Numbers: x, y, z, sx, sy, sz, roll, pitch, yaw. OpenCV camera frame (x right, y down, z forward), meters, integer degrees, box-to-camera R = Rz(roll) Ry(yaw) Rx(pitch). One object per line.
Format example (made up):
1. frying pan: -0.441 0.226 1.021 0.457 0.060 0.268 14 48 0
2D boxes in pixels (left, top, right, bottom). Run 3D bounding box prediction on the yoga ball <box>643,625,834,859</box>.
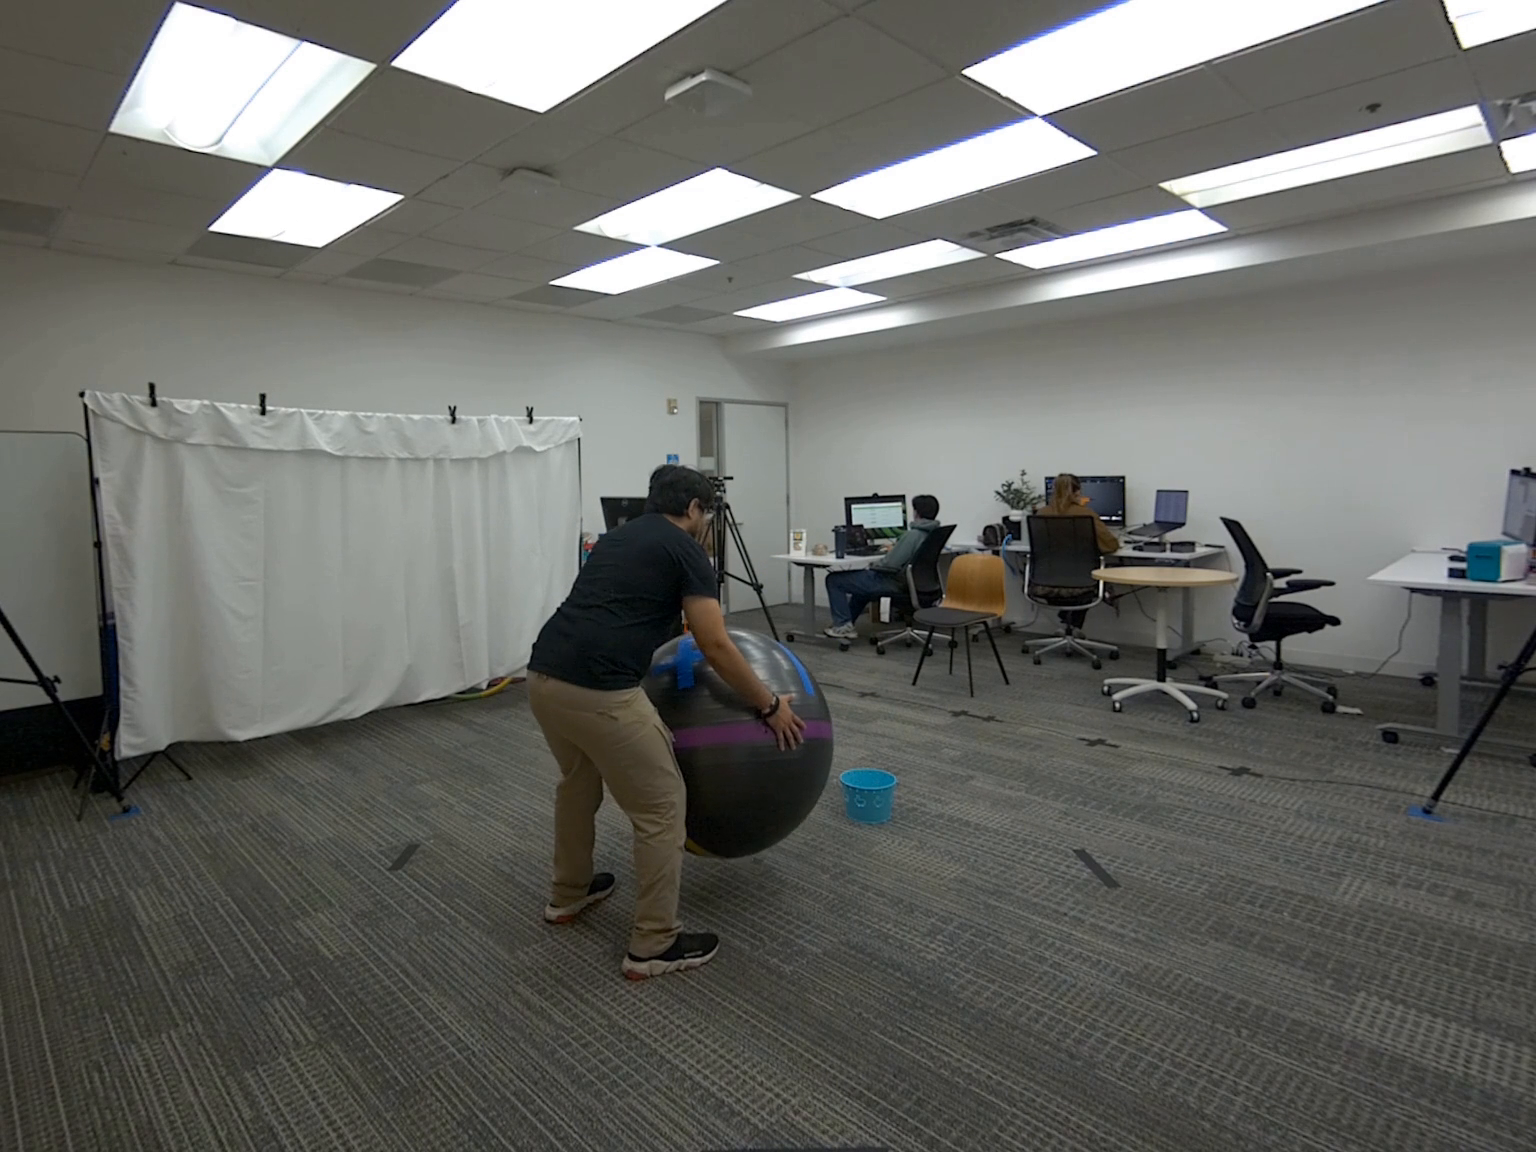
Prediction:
1. yoga ball: -0.158 0.556 2.922 0.757 0.755 0.762 -1 5 -2
